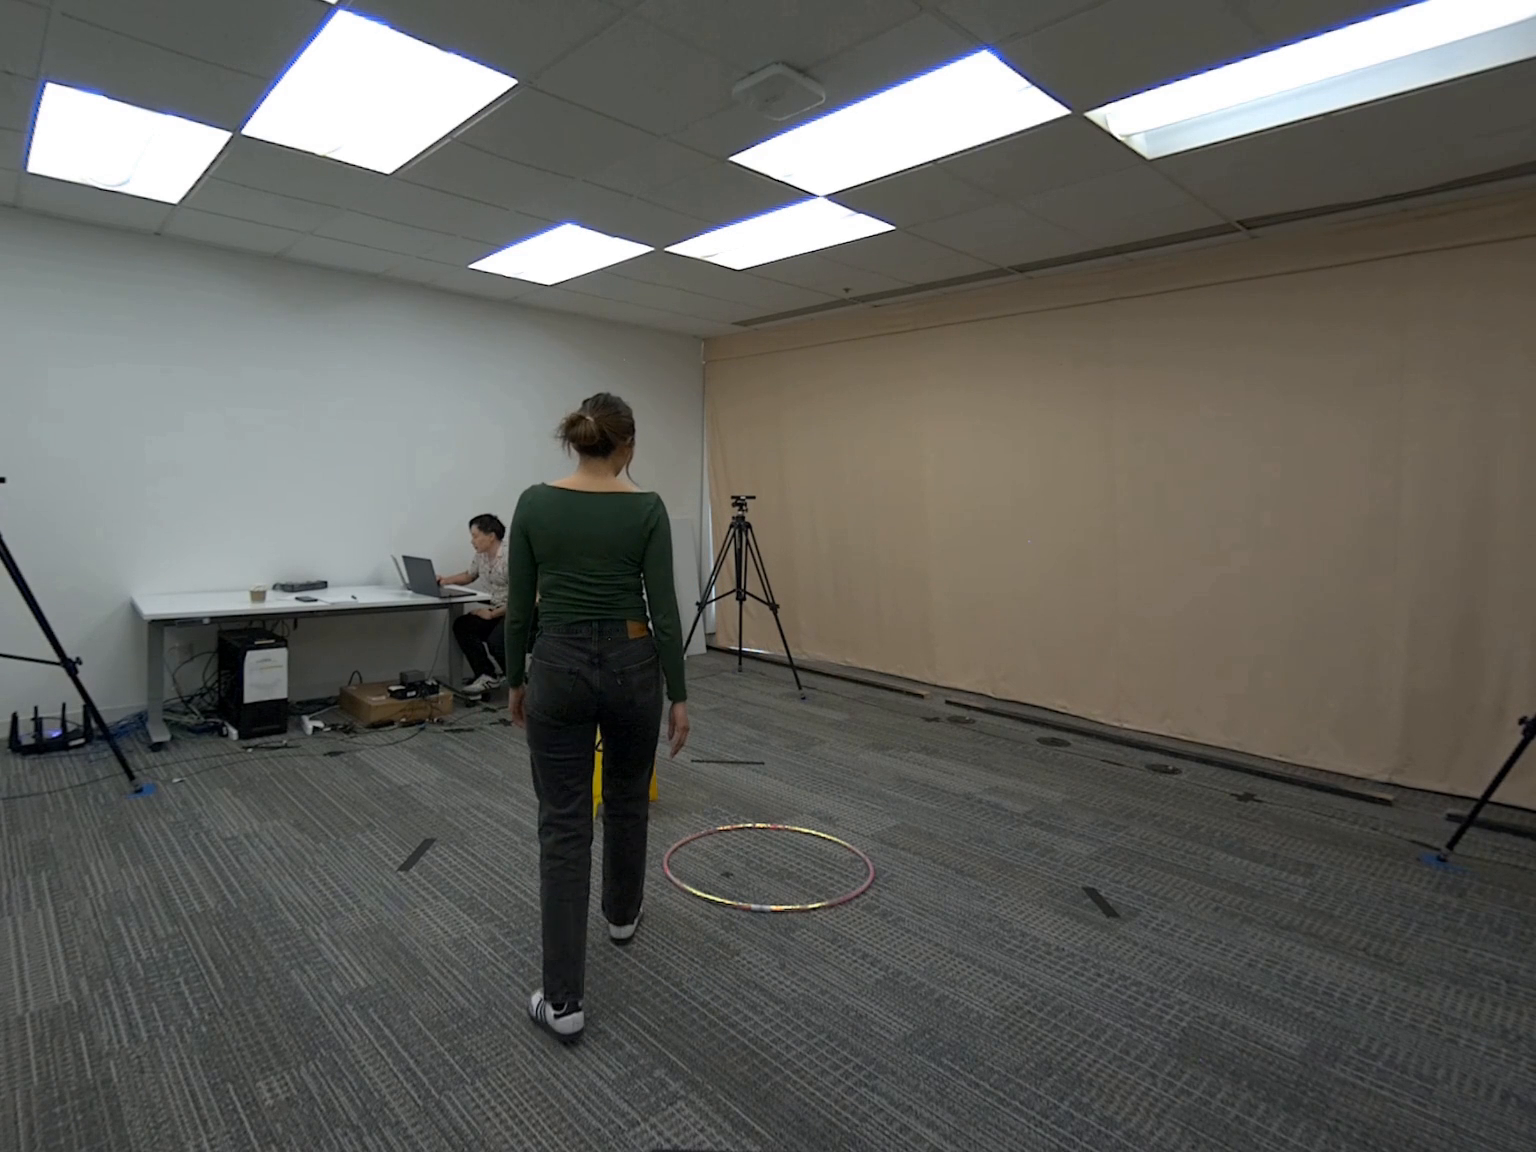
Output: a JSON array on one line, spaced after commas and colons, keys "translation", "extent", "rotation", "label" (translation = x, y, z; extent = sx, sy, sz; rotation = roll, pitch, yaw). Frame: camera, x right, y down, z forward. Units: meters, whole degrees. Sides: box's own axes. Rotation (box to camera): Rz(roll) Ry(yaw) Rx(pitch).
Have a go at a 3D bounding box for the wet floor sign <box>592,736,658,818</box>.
[{"translation": [-0.657, 0.715, 3.719], "extent": [0.284, 0.644, 0.288], "rotation": [3, 3, 8], "label": "wet floor sign"}]
